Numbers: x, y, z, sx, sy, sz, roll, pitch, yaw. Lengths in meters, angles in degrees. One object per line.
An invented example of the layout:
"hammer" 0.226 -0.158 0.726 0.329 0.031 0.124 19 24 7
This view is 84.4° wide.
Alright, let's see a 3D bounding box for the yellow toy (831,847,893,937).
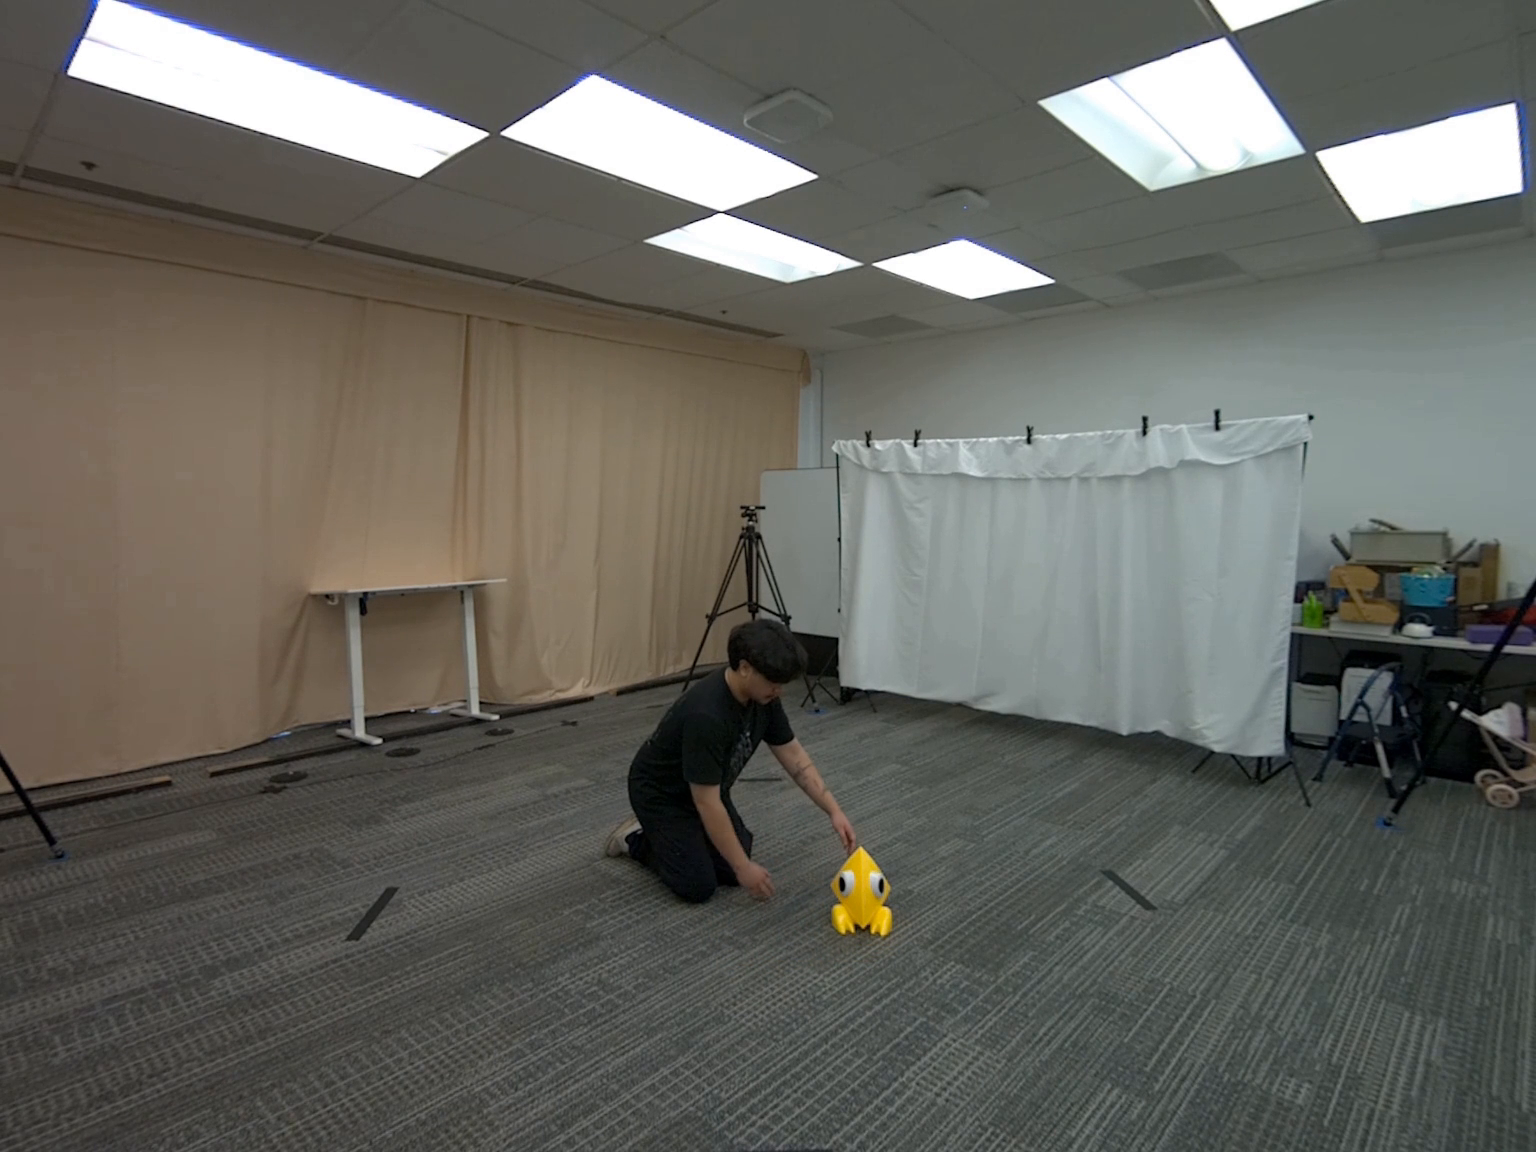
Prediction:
"yellow toy" 0.321 1.045 2.808 0.206 0.230 0.192 1 2 6
